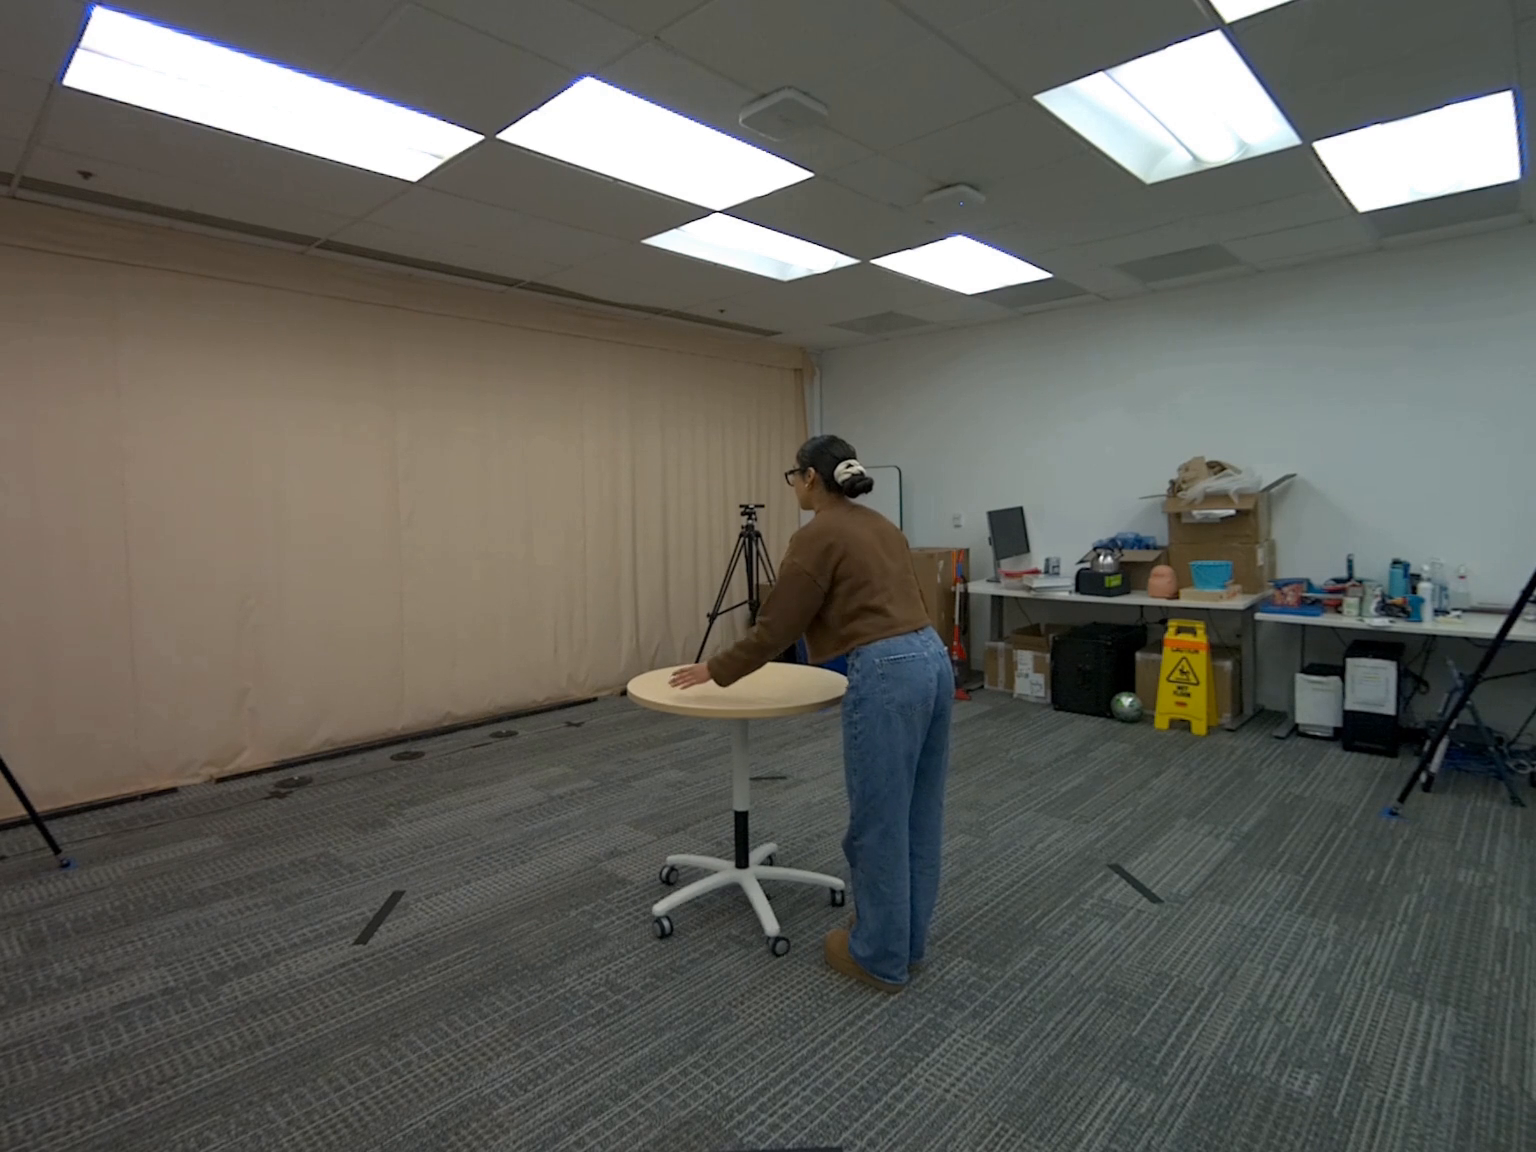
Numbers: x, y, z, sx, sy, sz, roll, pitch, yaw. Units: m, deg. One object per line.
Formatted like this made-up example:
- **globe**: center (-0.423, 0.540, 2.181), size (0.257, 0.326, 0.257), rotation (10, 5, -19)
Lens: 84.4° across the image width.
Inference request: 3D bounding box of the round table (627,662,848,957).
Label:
- **round table**: center (-0.095, 0.759, 2.901), size (0.763, 0.792, 0.767), rotation (-1, 4, -2)
